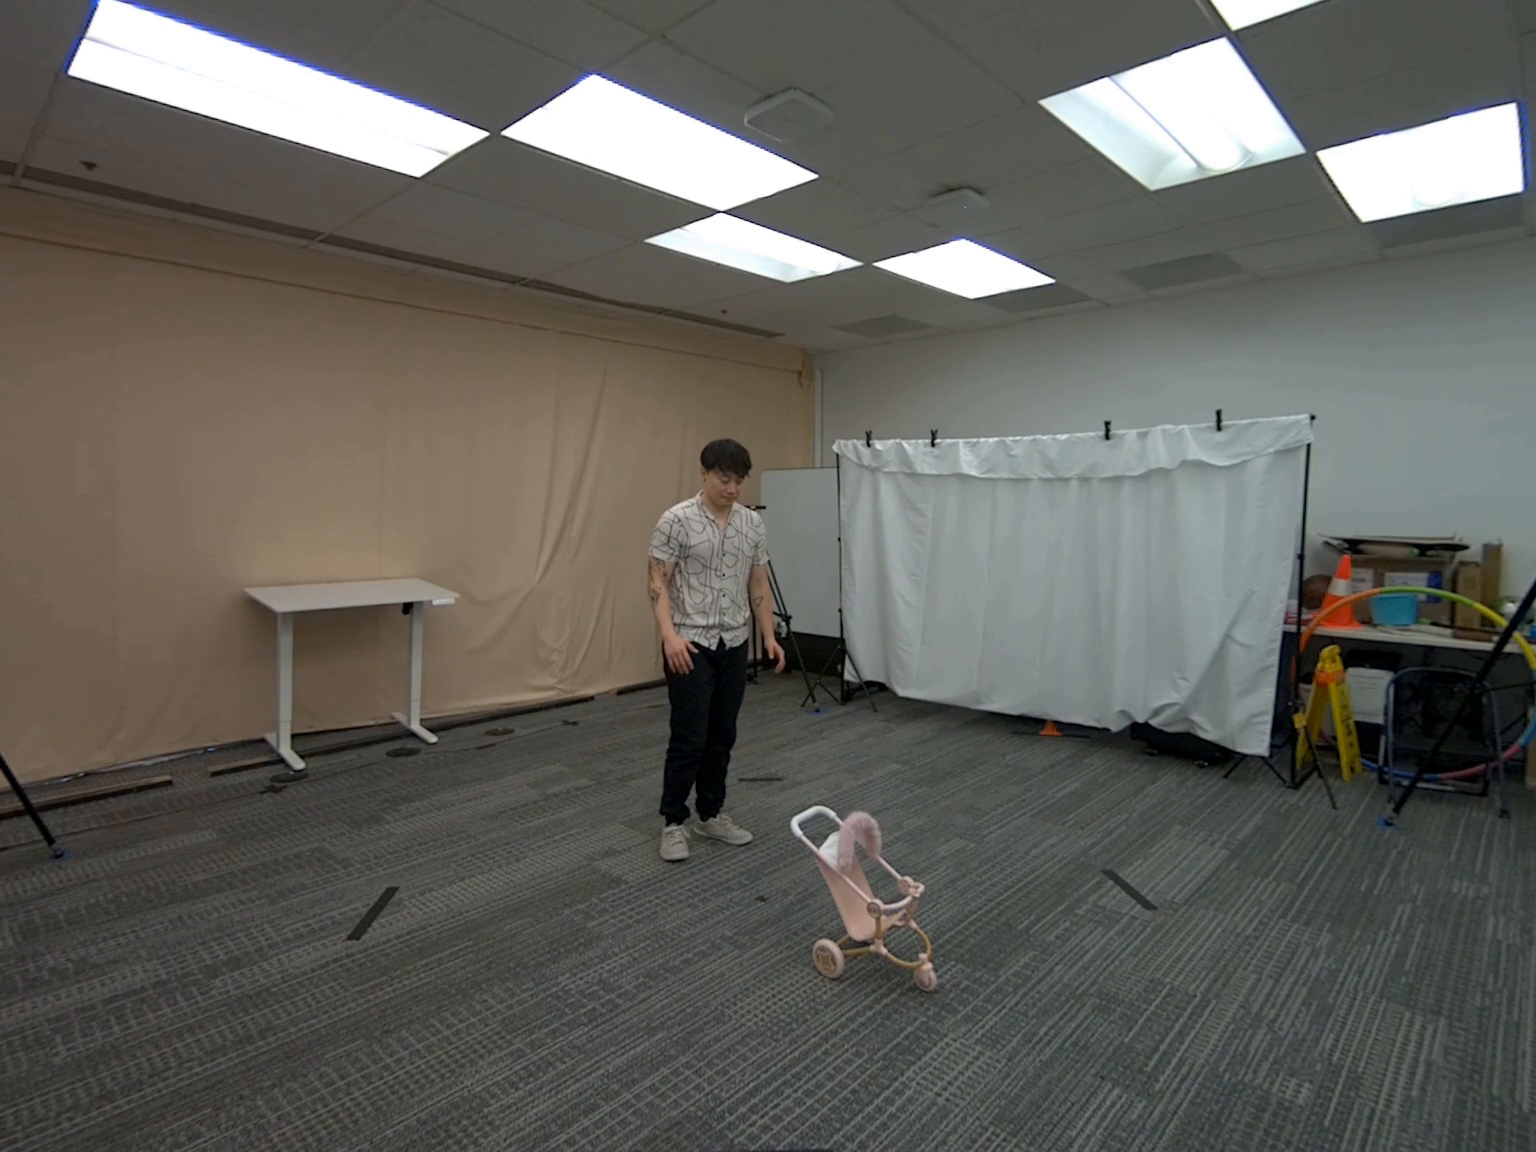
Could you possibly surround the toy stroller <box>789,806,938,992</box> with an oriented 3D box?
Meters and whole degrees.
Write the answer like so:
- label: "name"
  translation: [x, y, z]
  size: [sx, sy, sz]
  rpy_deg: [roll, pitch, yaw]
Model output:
- label: "toy stroller"
  translation: [0.303, 0.958, 2.530]
  size: [0.349, 0.539, 0.273]
  rpy_deg: [-22, -12, 42]
